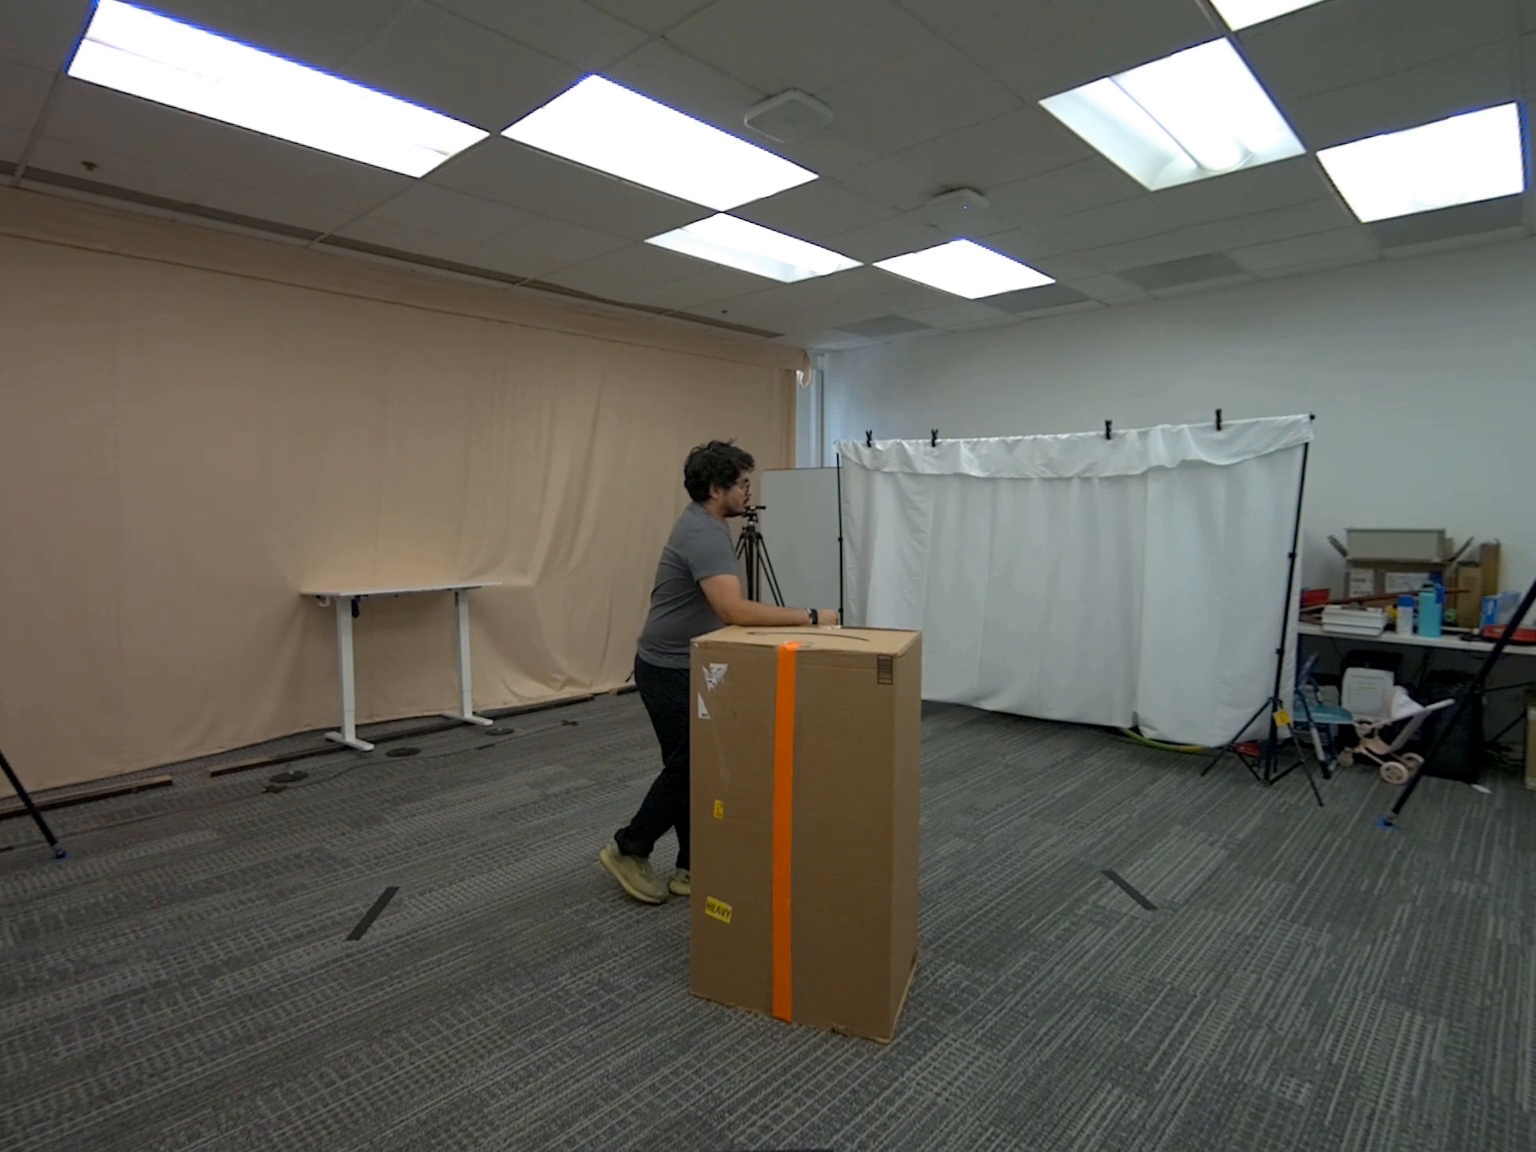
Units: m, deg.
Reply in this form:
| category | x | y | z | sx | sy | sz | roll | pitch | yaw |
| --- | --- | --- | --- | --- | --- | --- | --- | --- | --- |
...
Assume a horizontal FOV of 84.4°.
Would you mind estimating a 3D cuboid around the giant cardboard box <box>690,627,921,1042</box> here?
| category | x | y | z | sx | sy | sz | roll | pitch | yaw |
| --- | --- | --- | --- | --- | --- | --- | --- | --- | --- |
| giant cardboard box | 0.125 | 0.682 | 2.447 | 0.591 | 1.024 | 0.417 | 1 | 3 | 23 |
